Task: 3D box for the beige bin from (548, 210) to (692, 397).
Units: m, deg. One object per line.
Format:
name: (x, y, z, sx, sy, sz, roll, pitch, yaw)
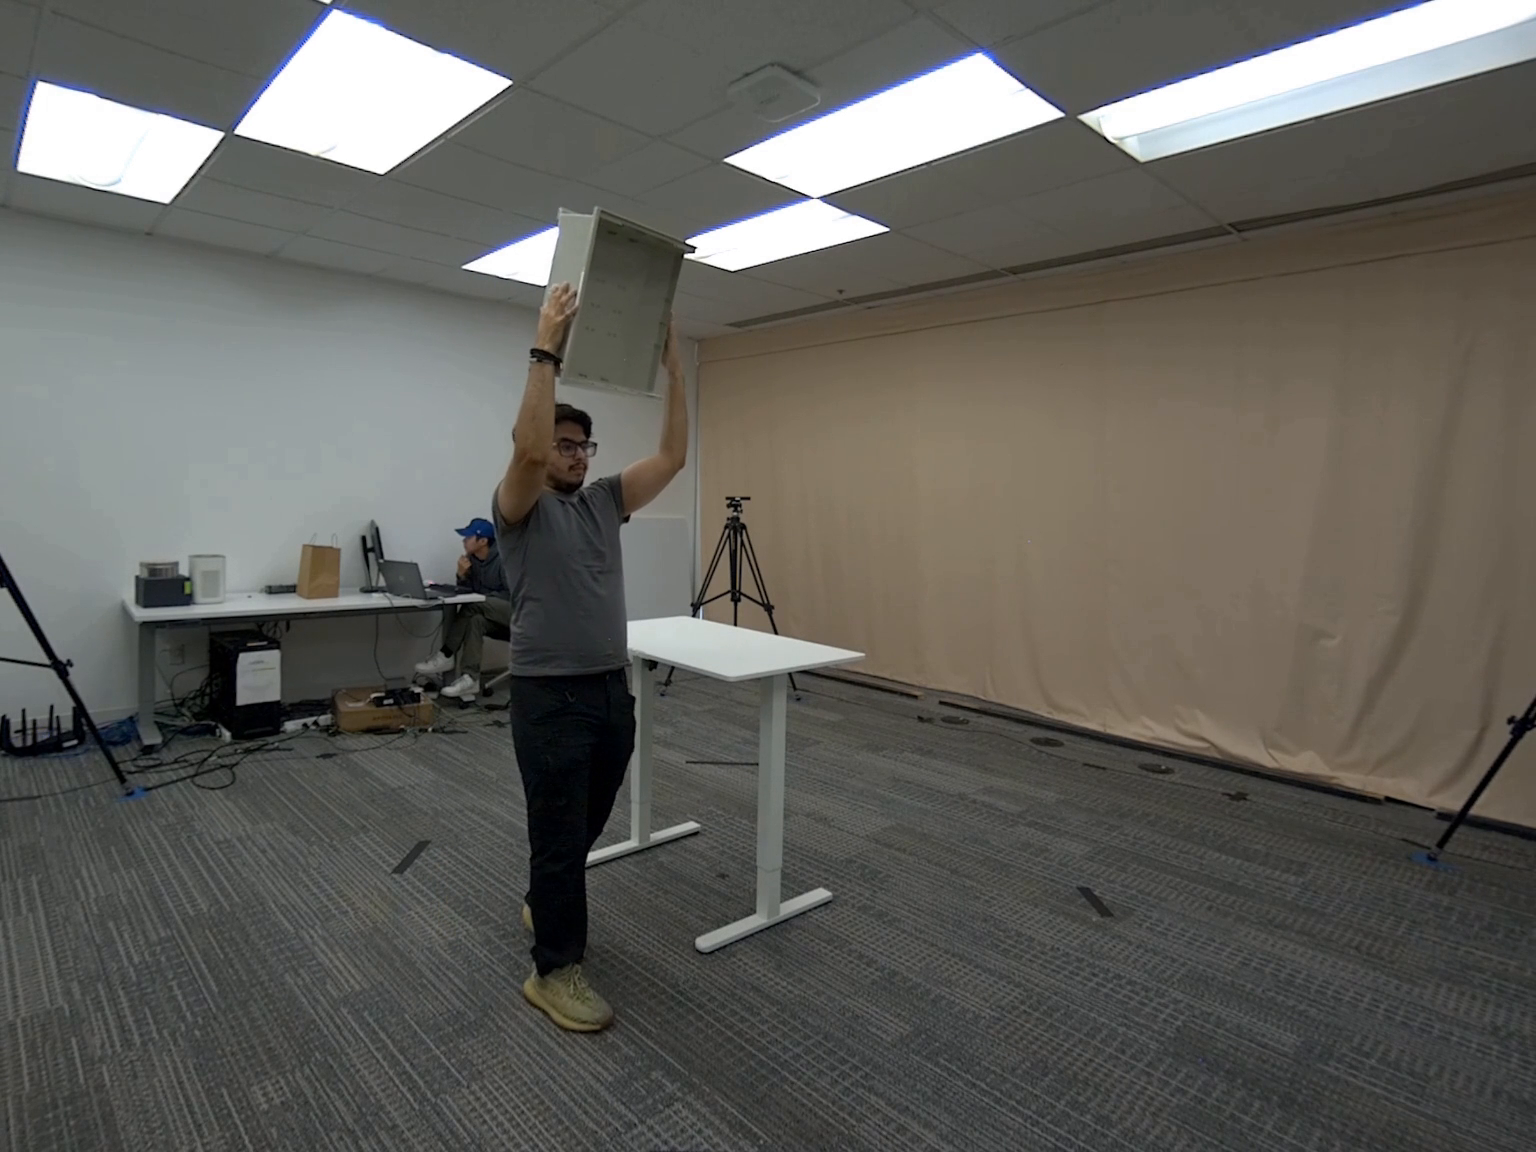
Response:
beige bin: (-0.395, -0.698, 2.196, 0.195, 0.420, 0.368, 25, 15, 39)
